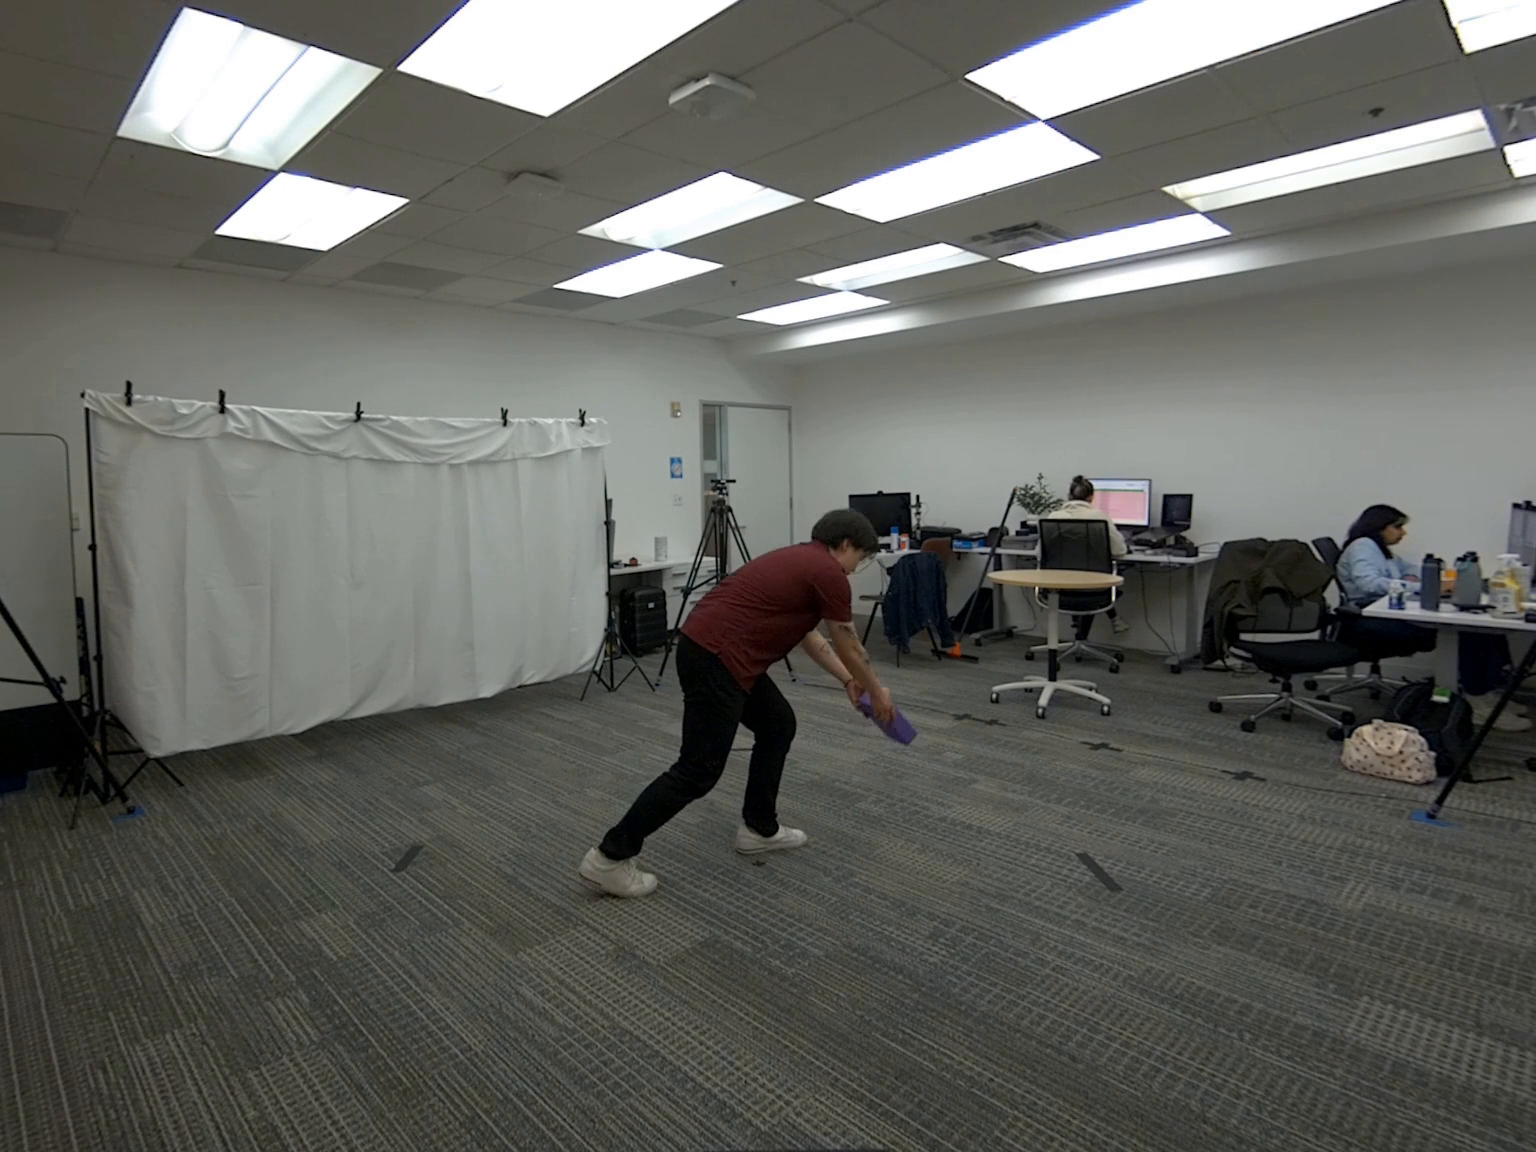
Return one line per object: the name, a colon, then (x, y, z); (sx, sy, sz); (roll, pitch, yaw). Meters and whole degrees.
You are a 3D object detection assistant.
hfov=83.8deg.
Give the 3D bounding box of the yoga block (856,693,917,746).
yoga block: (0.473, 0.556, 3.405); (0.076, 0.225, 0.152); (-46, 15, -13)
